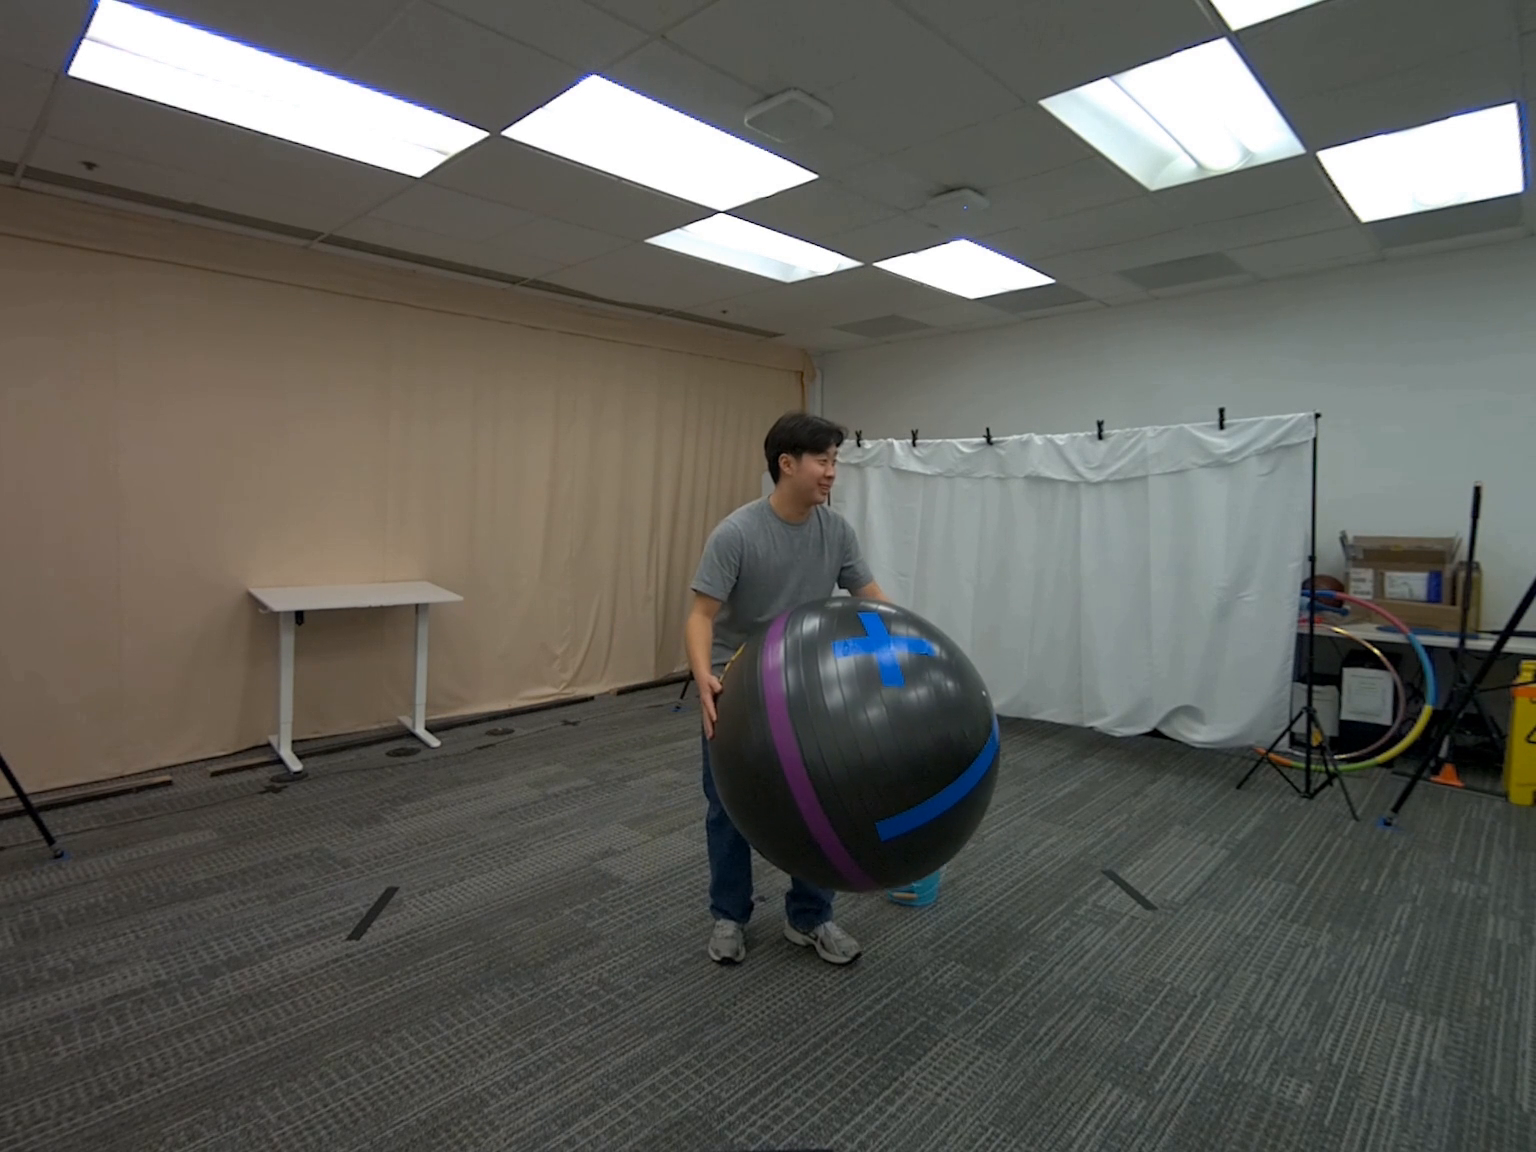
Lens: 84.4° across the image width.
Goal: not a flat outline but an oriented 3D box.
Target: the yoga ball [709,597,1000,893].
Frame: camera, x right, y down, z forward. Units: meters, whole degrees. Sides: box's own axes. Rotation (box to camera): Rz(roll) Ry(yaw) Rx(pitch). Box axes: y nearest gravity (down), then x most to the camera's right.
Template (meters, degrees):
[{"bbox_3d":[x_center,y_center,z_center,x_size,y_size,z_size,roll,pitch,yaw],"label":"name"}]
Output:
[{"bbox_3d":[0.229,0.450,2.239,0.757,0.756,0.761,0,4,-2],"label":"yoga ball"}]
